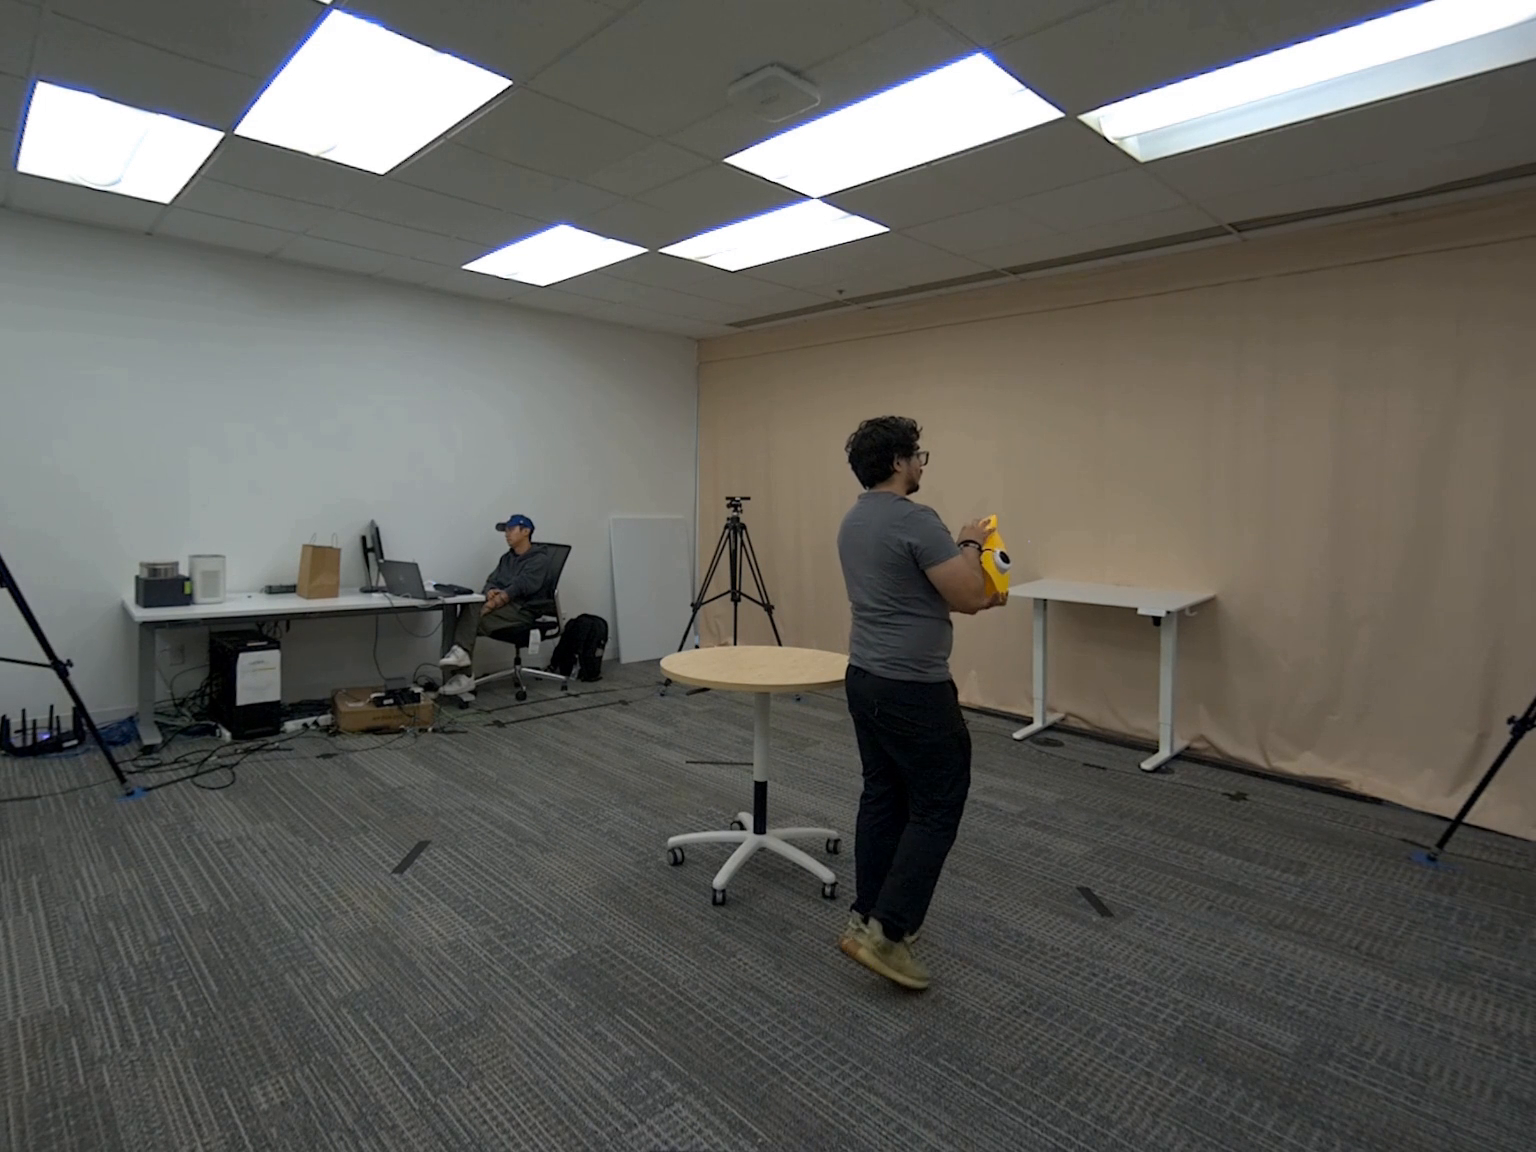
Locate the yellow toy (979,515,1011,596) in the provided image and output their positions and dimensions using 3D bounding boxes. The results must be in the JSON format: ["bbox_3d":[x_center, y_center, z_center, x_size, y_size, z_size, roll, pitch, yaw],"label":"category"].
[{"bbox_3d":[0.705,-0.036,2.712,0.192,0.234,0.202,-33,-16,-19],"label":"yellow toy"}]
